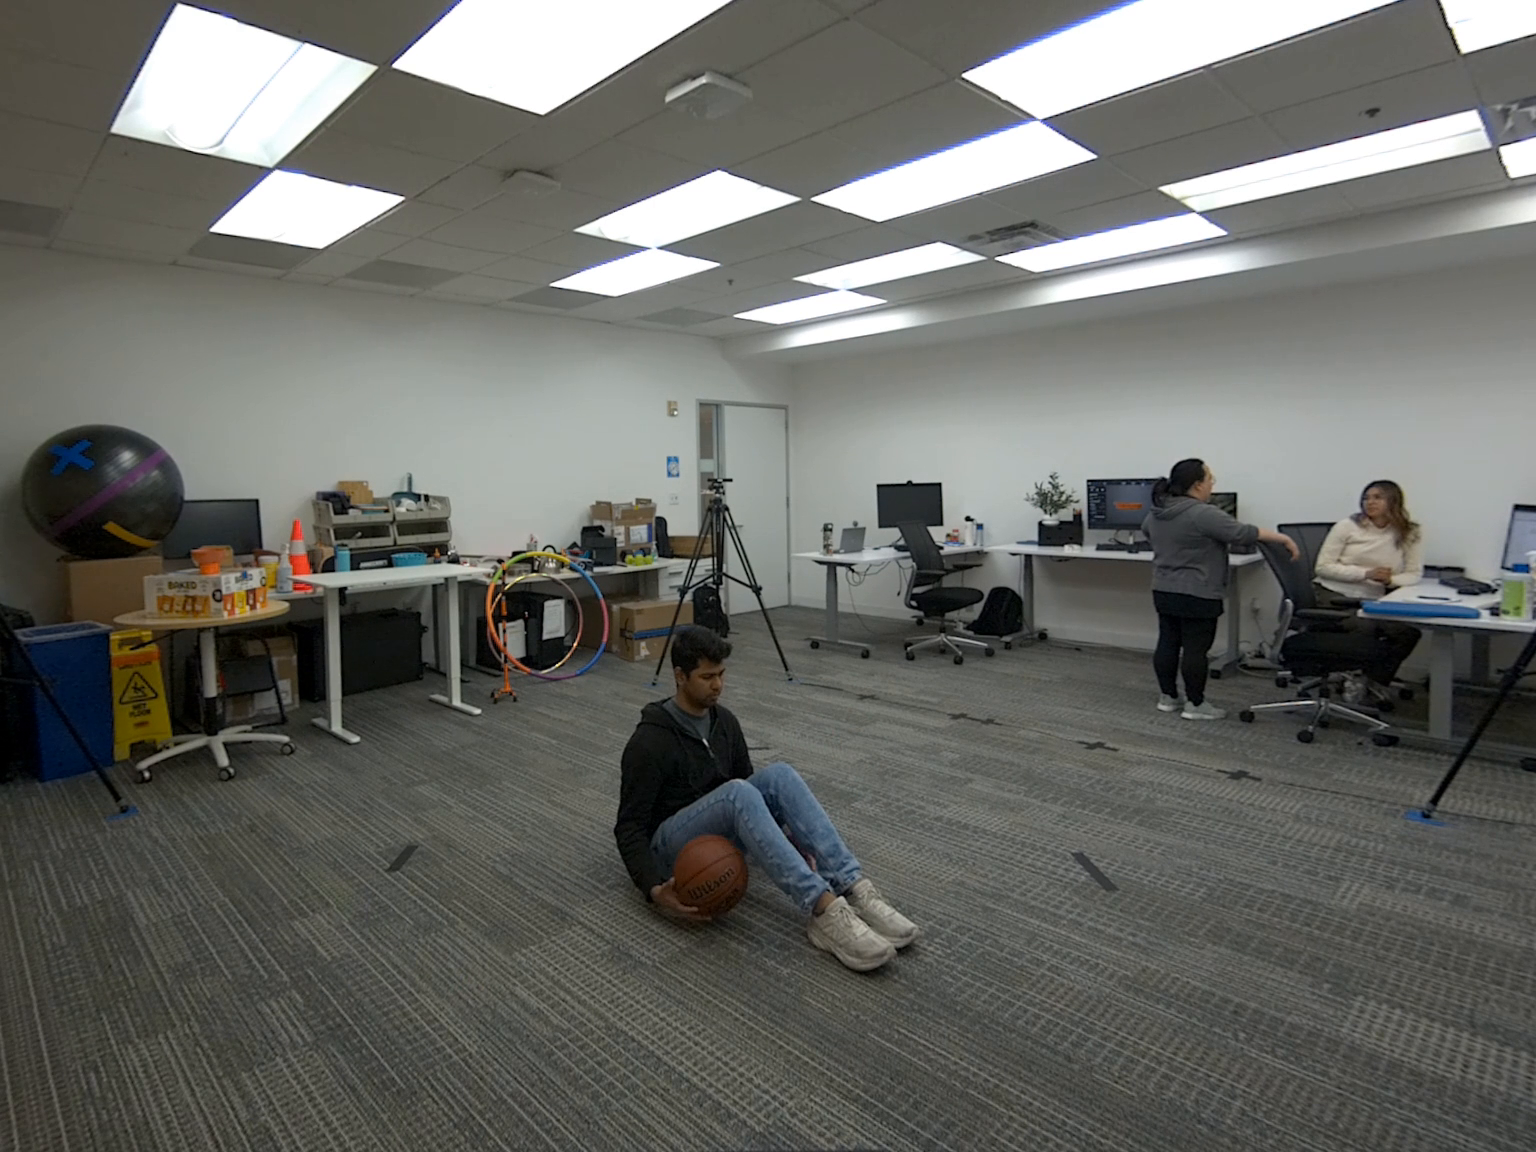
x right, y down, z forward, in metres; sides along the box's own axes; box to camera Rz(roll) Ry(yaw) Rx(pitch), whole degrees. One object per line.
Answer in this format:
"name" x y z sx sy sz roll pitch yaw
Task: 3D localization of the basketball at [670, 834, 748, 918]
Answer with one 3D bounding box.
"basketball" -0.175 0.933 2.674 0.236 0.235 0.237 -1 5 -2
